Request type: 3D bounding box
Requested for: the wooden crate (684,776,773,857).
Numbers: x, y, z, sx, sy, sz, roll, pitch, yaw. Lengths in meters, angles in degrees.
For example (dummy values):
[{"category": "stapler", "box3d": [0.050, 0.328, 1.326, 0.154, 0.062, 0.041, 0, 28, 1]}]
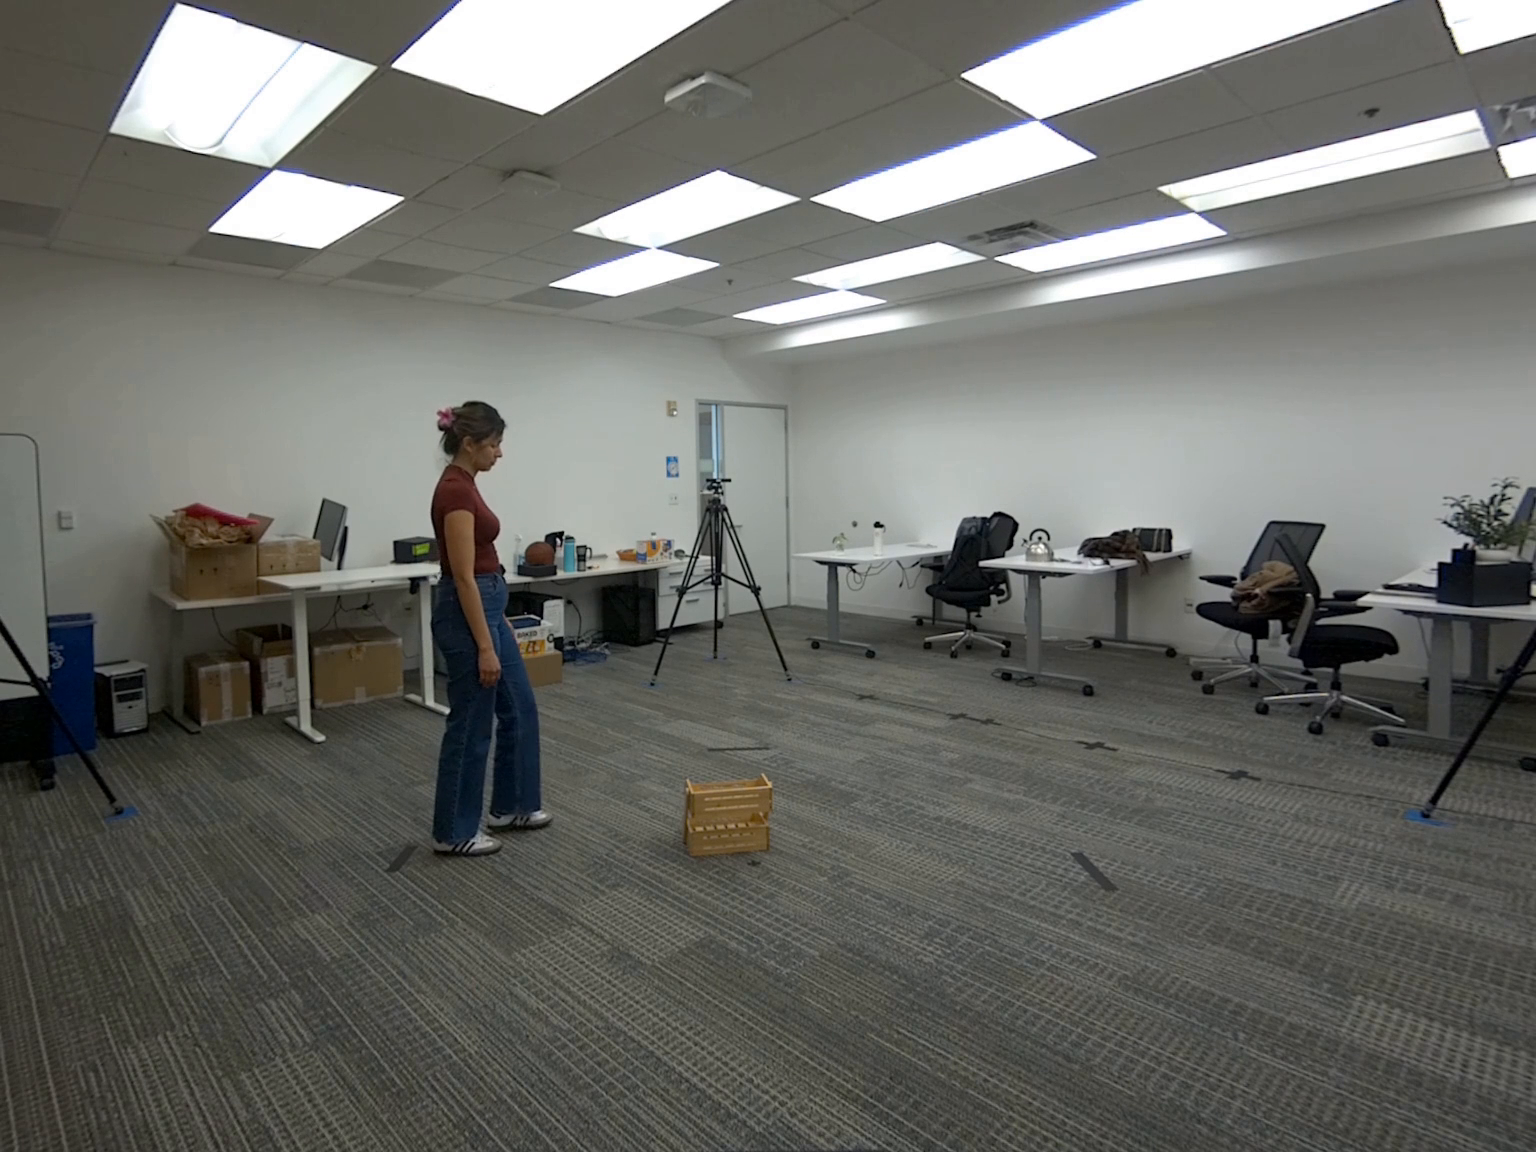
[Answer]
[{"category": "wooden crate", "box3d": [-0.165, 0.889, 3.278, 0.321, 0.272, 0.306, -2, 5, -12]}]
